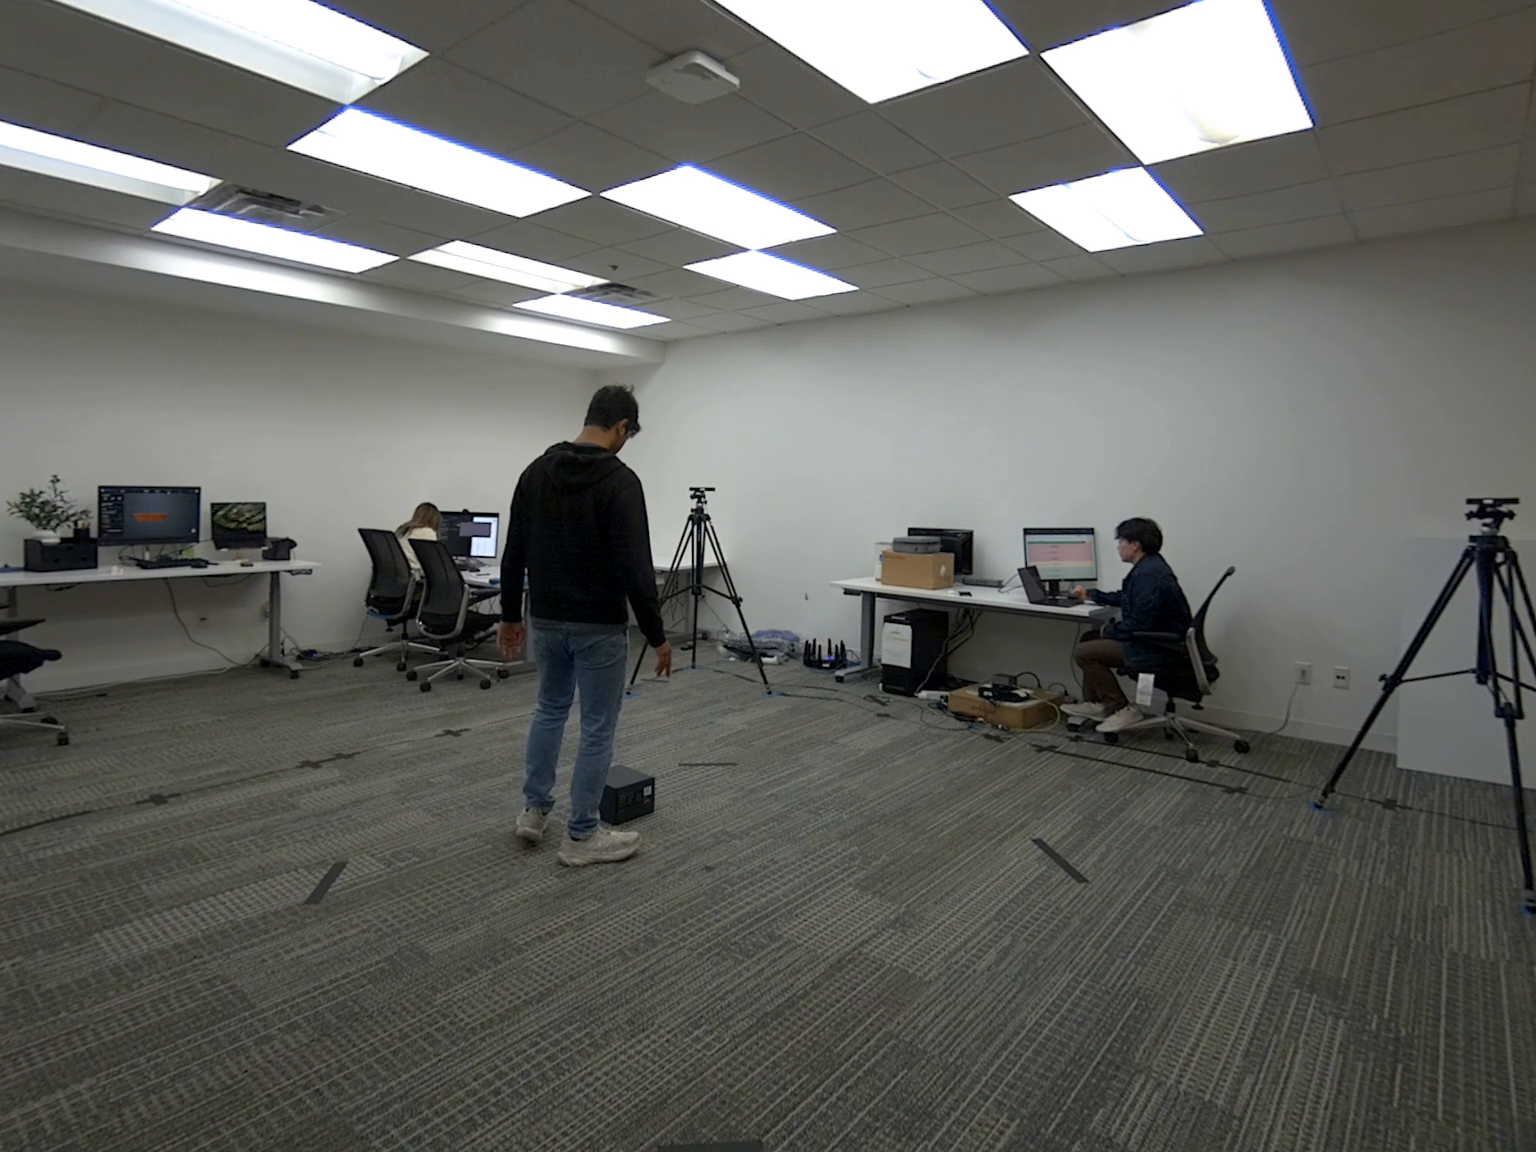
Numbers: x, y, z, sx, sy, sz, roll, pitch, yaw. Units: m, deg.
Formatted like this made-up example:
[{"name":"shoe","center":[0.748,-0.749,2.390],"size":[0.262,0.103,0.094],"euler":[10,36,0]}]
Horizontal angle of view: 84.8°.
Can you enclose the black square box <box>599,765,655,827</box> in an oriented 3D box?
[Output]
[{"name":"black square box","center":[-0.650,0.926,3.633],"size":[0.236,0.155,0.210],"euler":[6,7,41]}]
